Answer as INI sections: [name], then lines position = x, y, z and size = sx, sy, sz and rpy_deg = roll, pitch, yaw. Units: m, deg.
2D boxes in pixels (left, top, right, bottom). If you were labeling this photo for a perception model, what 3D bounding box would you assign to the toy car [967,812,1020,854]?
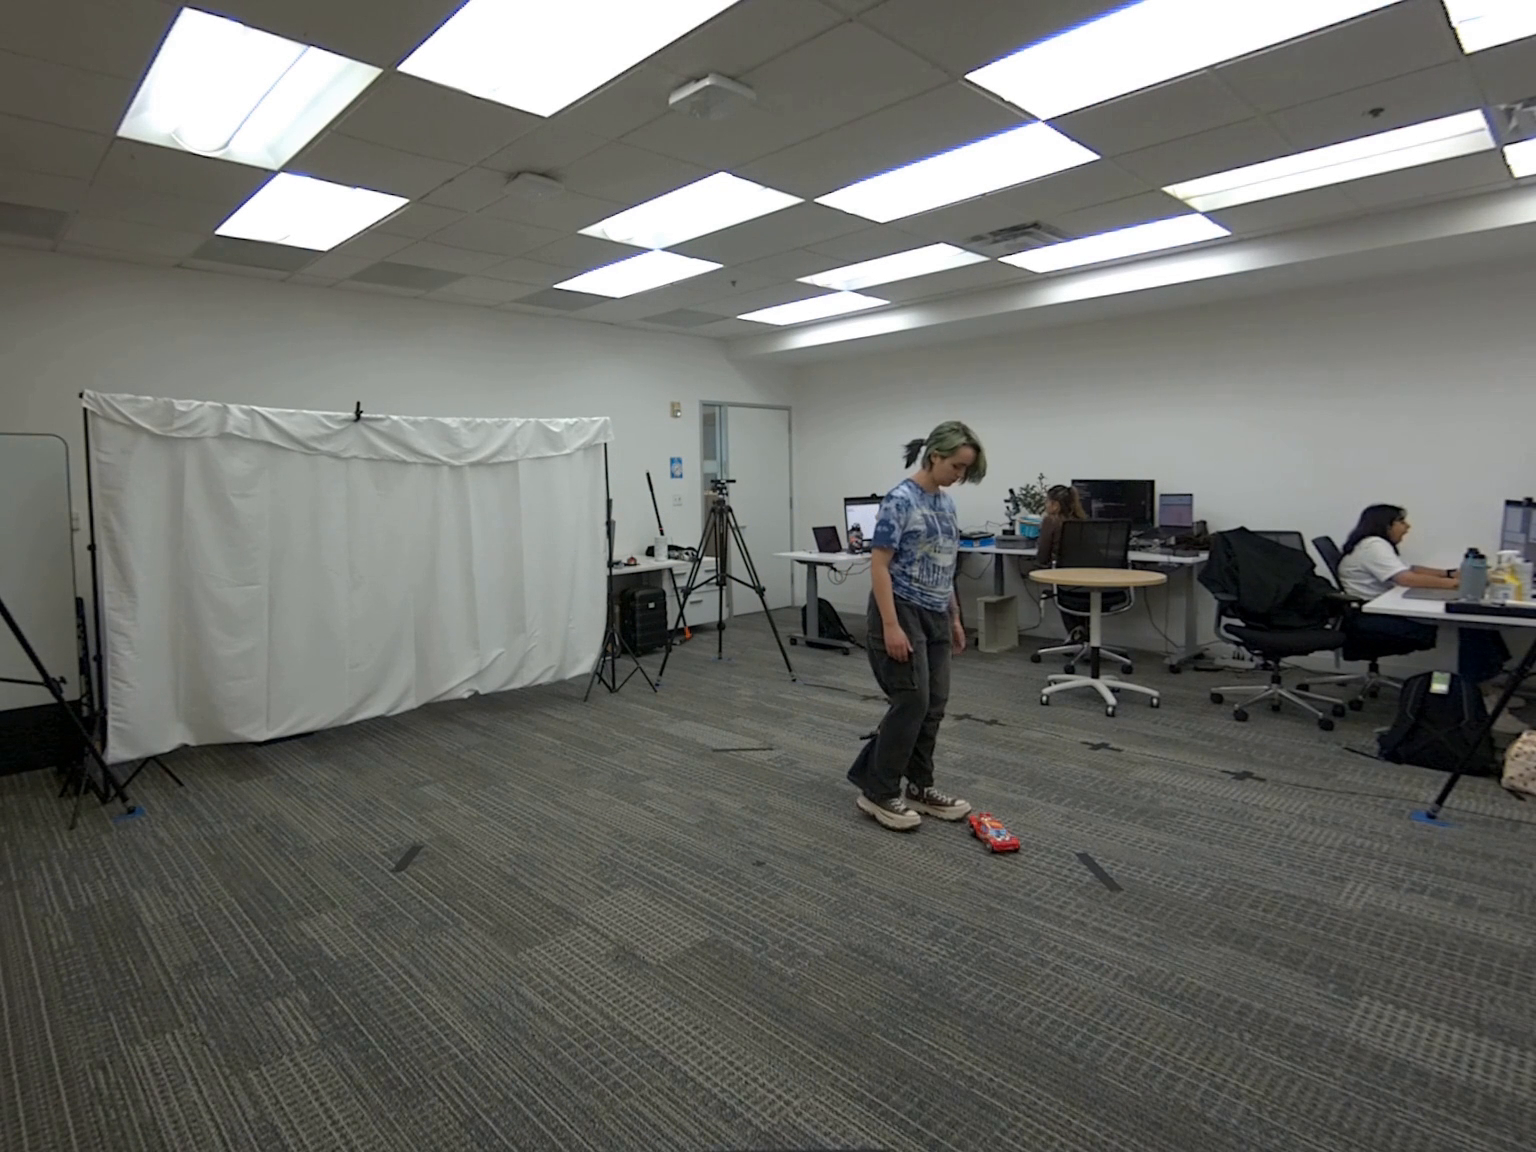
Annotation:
[toy car]
position = 0.854, 0.981, 3.265
size = 0.129, 0.082, 0.260
rpy_deg = -2, 17, -8
